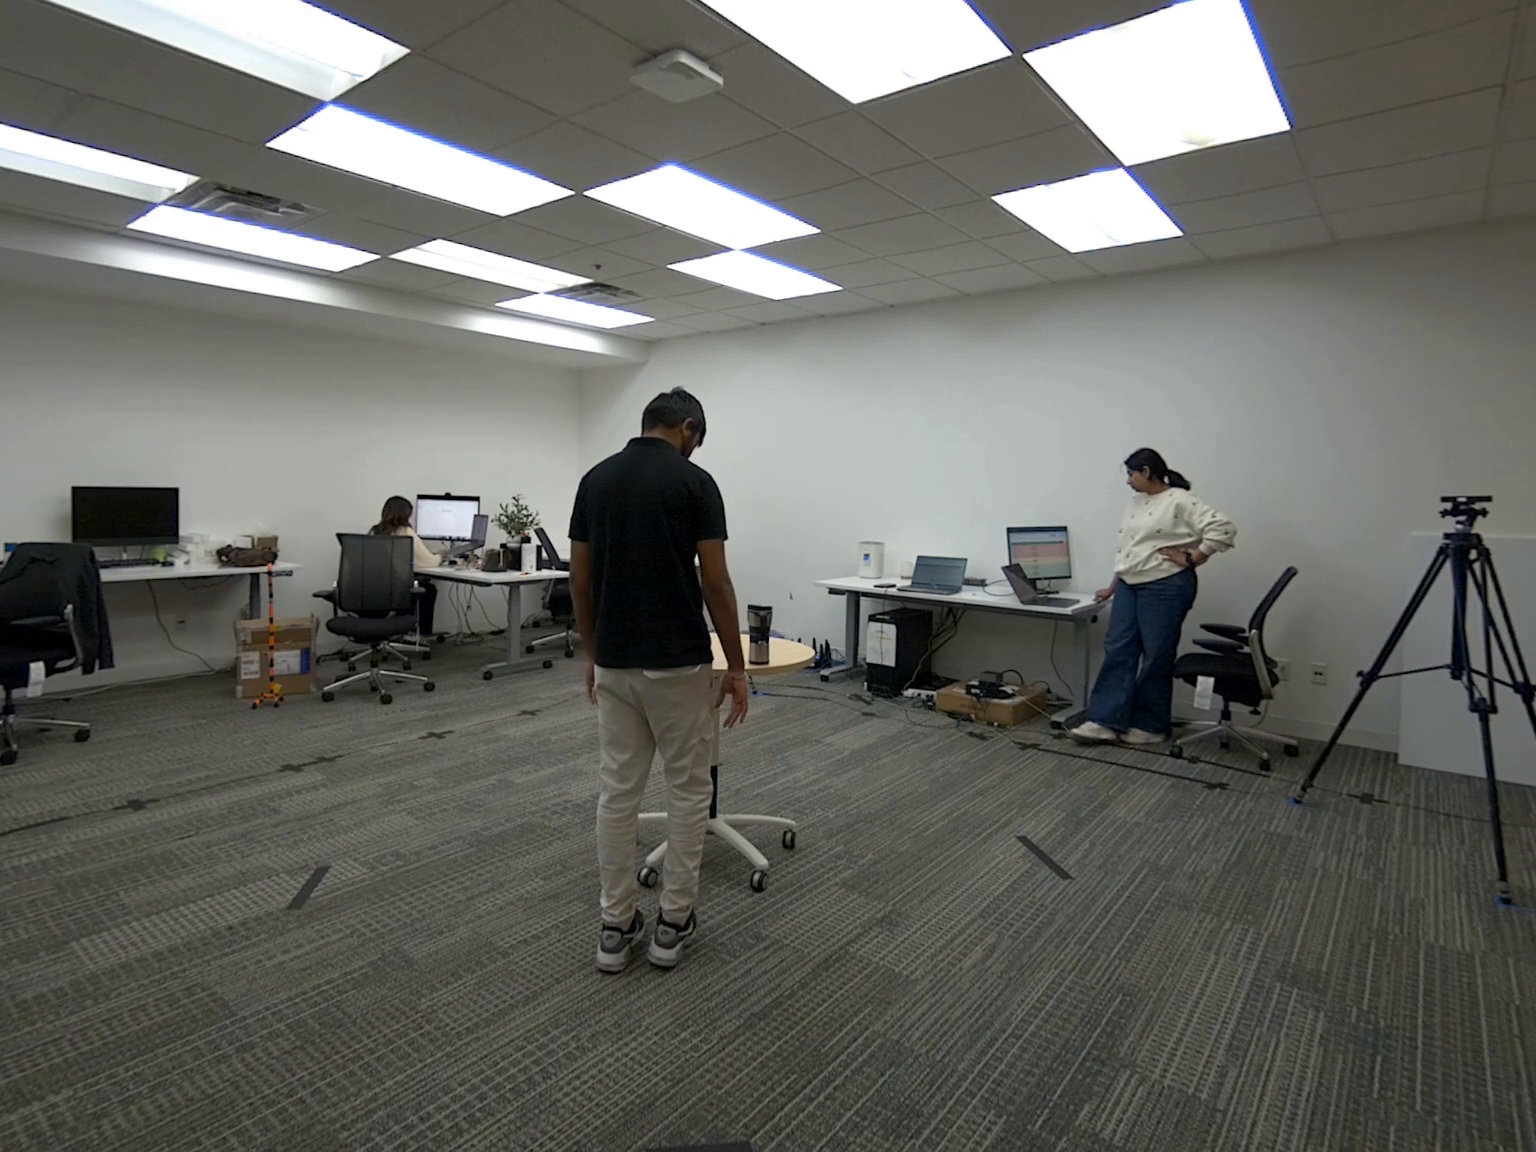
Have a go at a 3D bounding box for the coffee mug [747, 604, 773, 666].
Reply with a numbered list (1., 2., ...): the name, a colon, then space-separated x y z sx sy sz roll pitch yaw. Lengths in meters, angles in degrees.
1. coffee mug: -0.047 0.200 2.920 0.090 0.203 0.119 5 0 20
